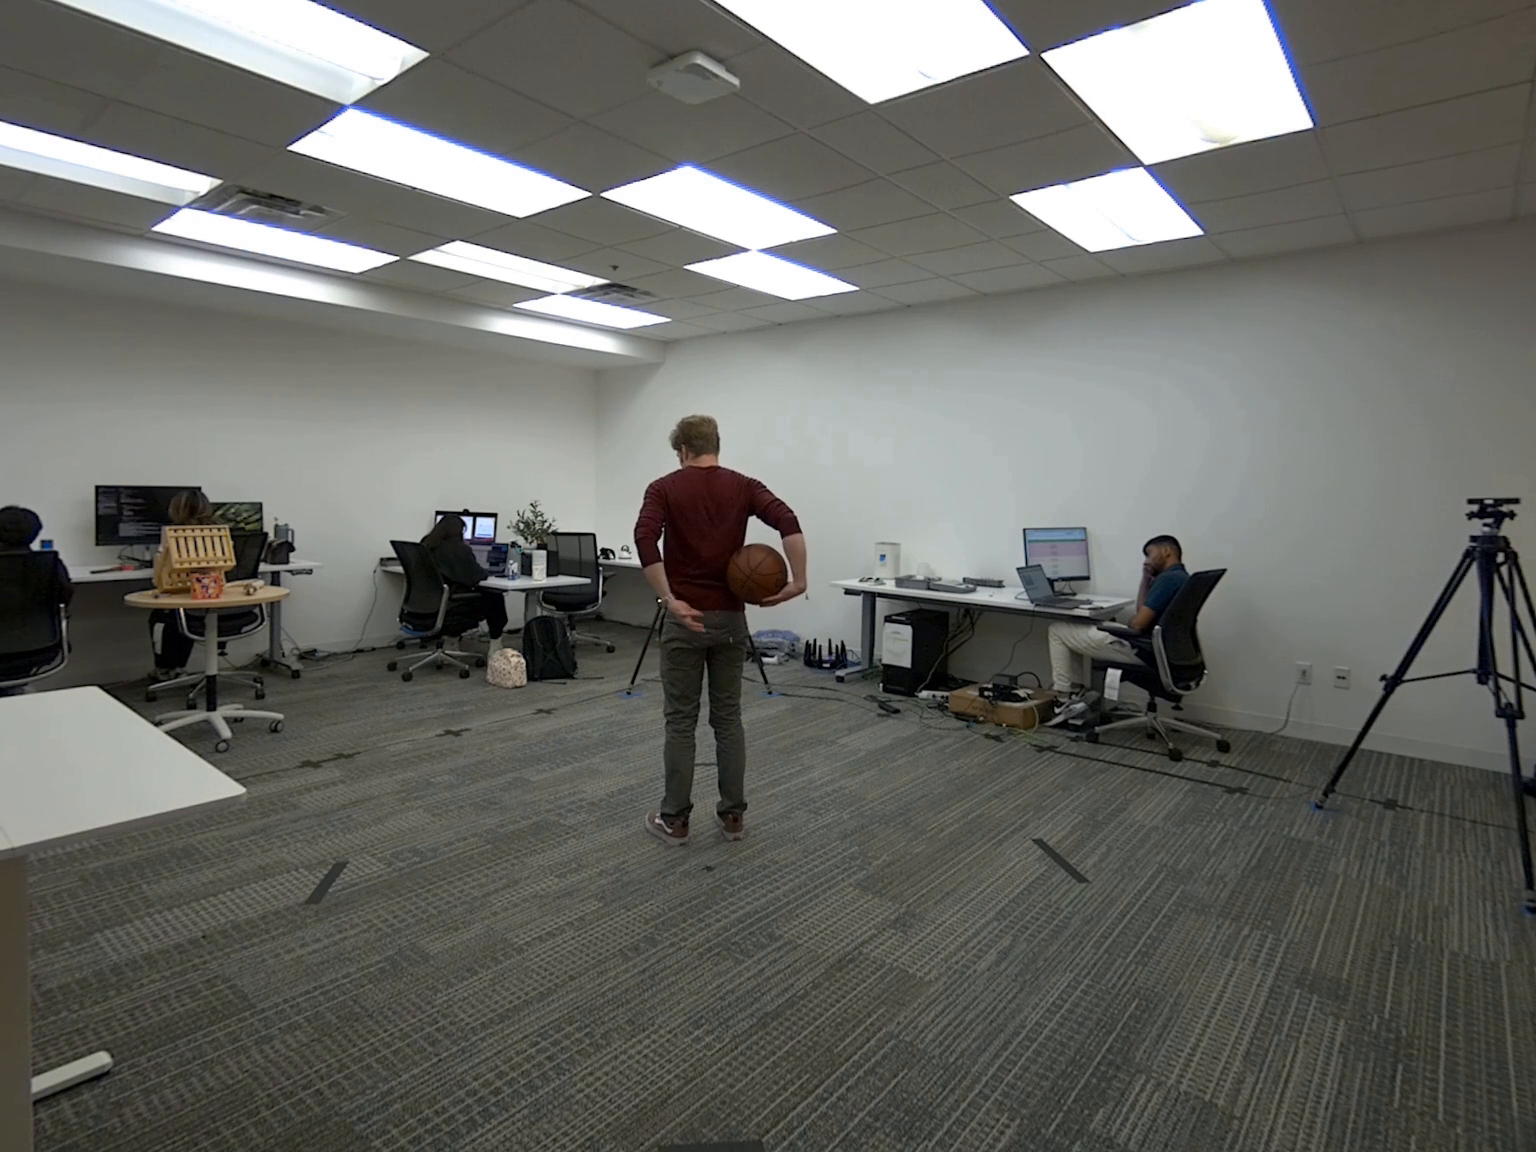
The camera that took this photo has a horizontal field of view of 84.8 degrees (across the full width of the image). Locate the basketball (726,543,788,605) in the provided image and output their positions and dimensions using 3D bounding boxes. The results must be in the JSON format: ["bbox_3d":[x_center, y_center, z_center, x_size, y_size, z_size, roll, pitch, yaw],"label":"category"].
[{"bbox_3d":[-0.055,-0.013,3.297,0.235,0.235,0.237,1,4,-2],"label":"basketball"}]
